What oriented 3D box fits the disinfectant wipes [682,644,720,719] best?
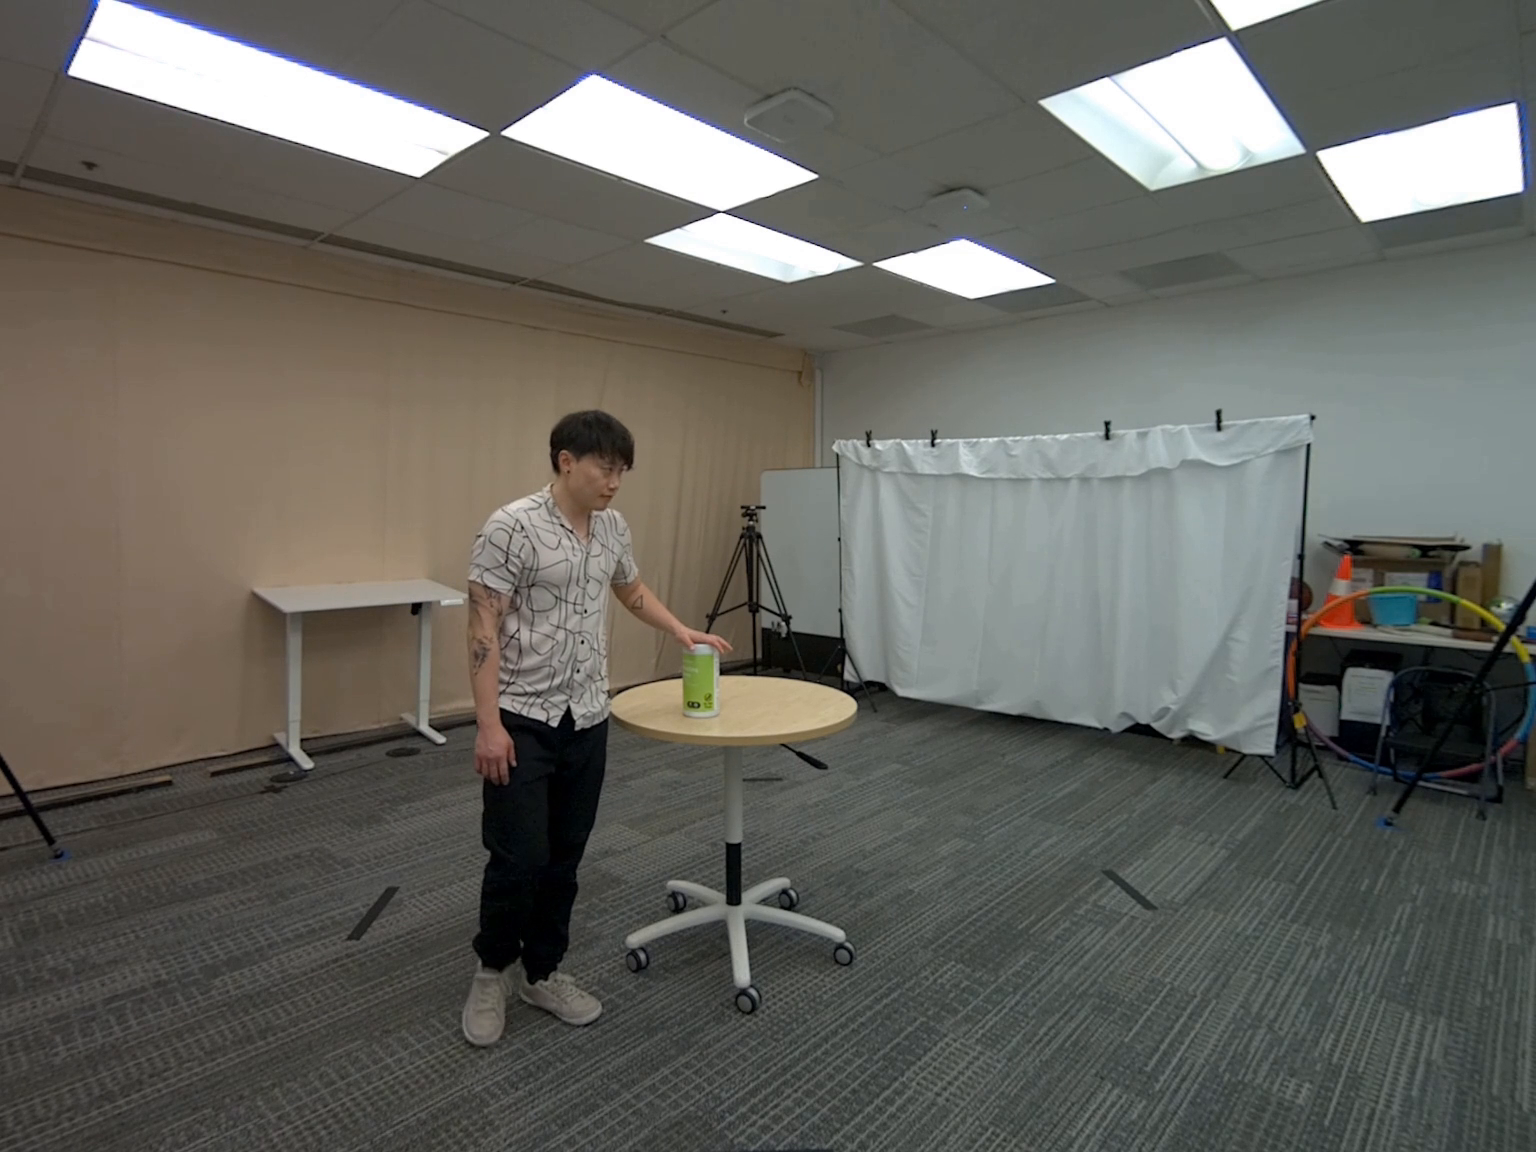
[{"bbox_3d":[-0.195,0.306,2.464,0.118,0.216,0.118,-1,6,-2],"label":"disinfectant wipes"}]
